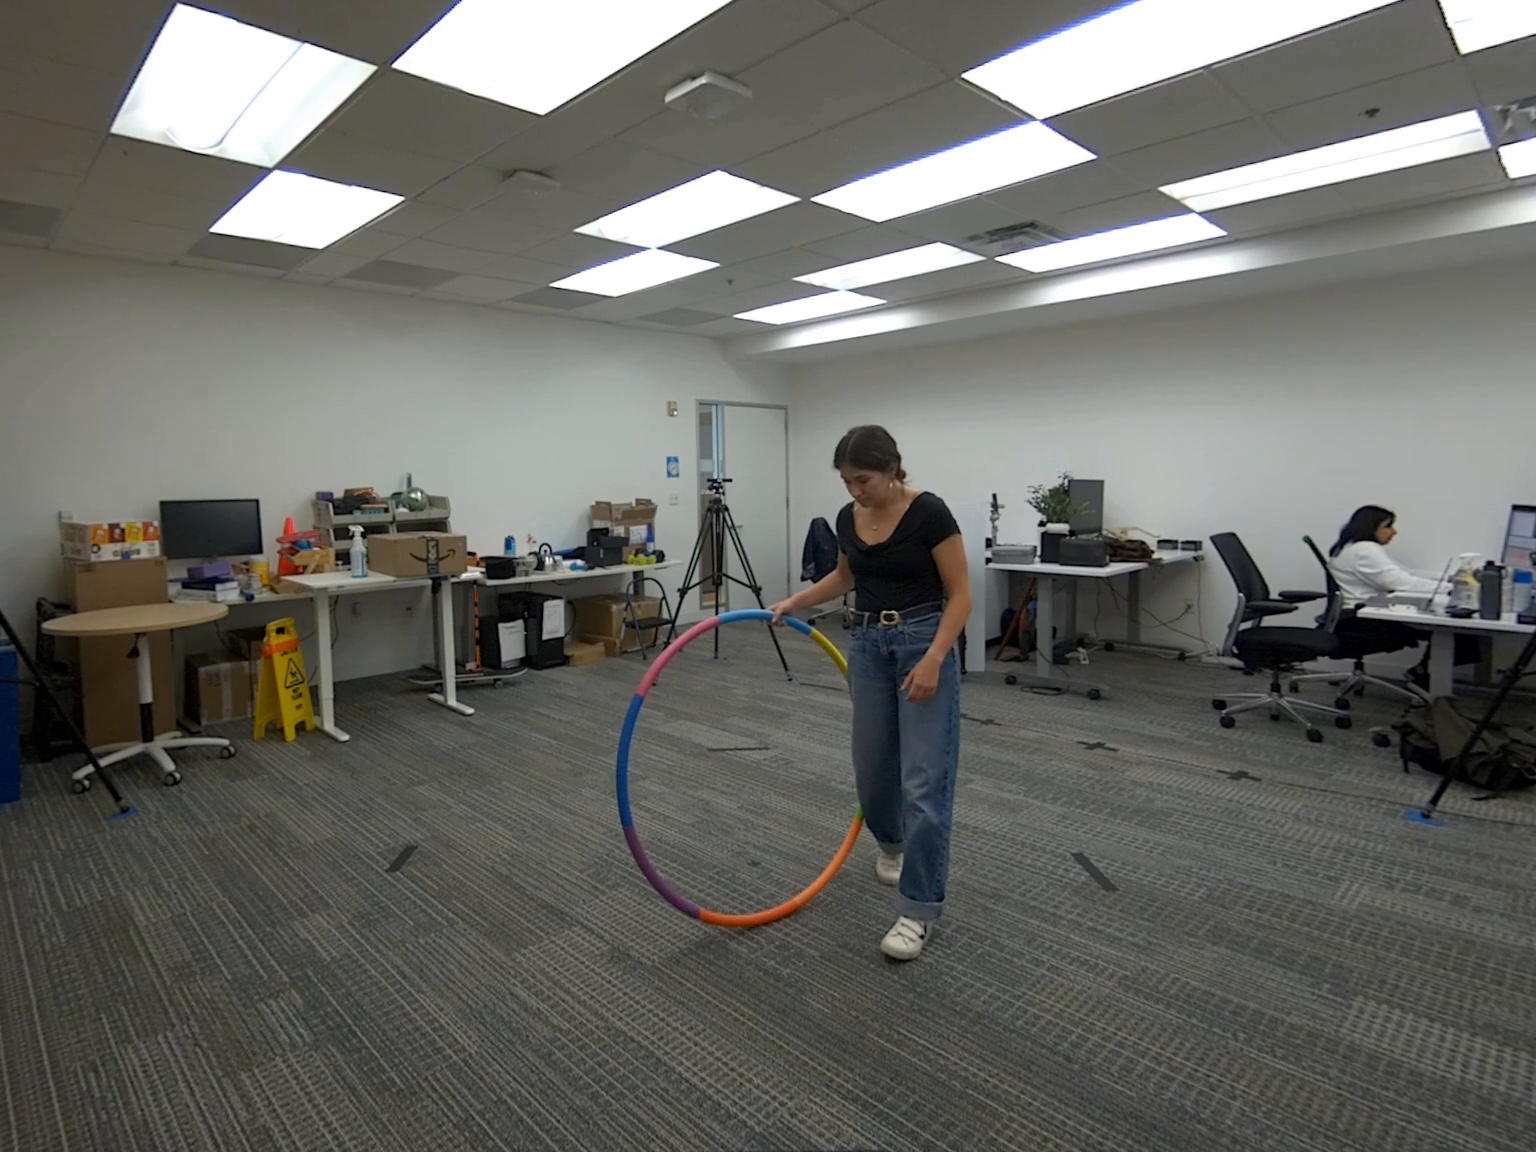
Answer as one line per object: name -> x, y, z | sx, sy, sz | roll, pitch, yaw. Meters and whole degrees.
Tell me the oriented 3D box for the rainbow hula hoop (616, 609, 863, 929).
rainbow hula hoop -> -0.045, 0.599, 2.747 | 0.954, 0.983, 0.036 | -4, -4, -34
